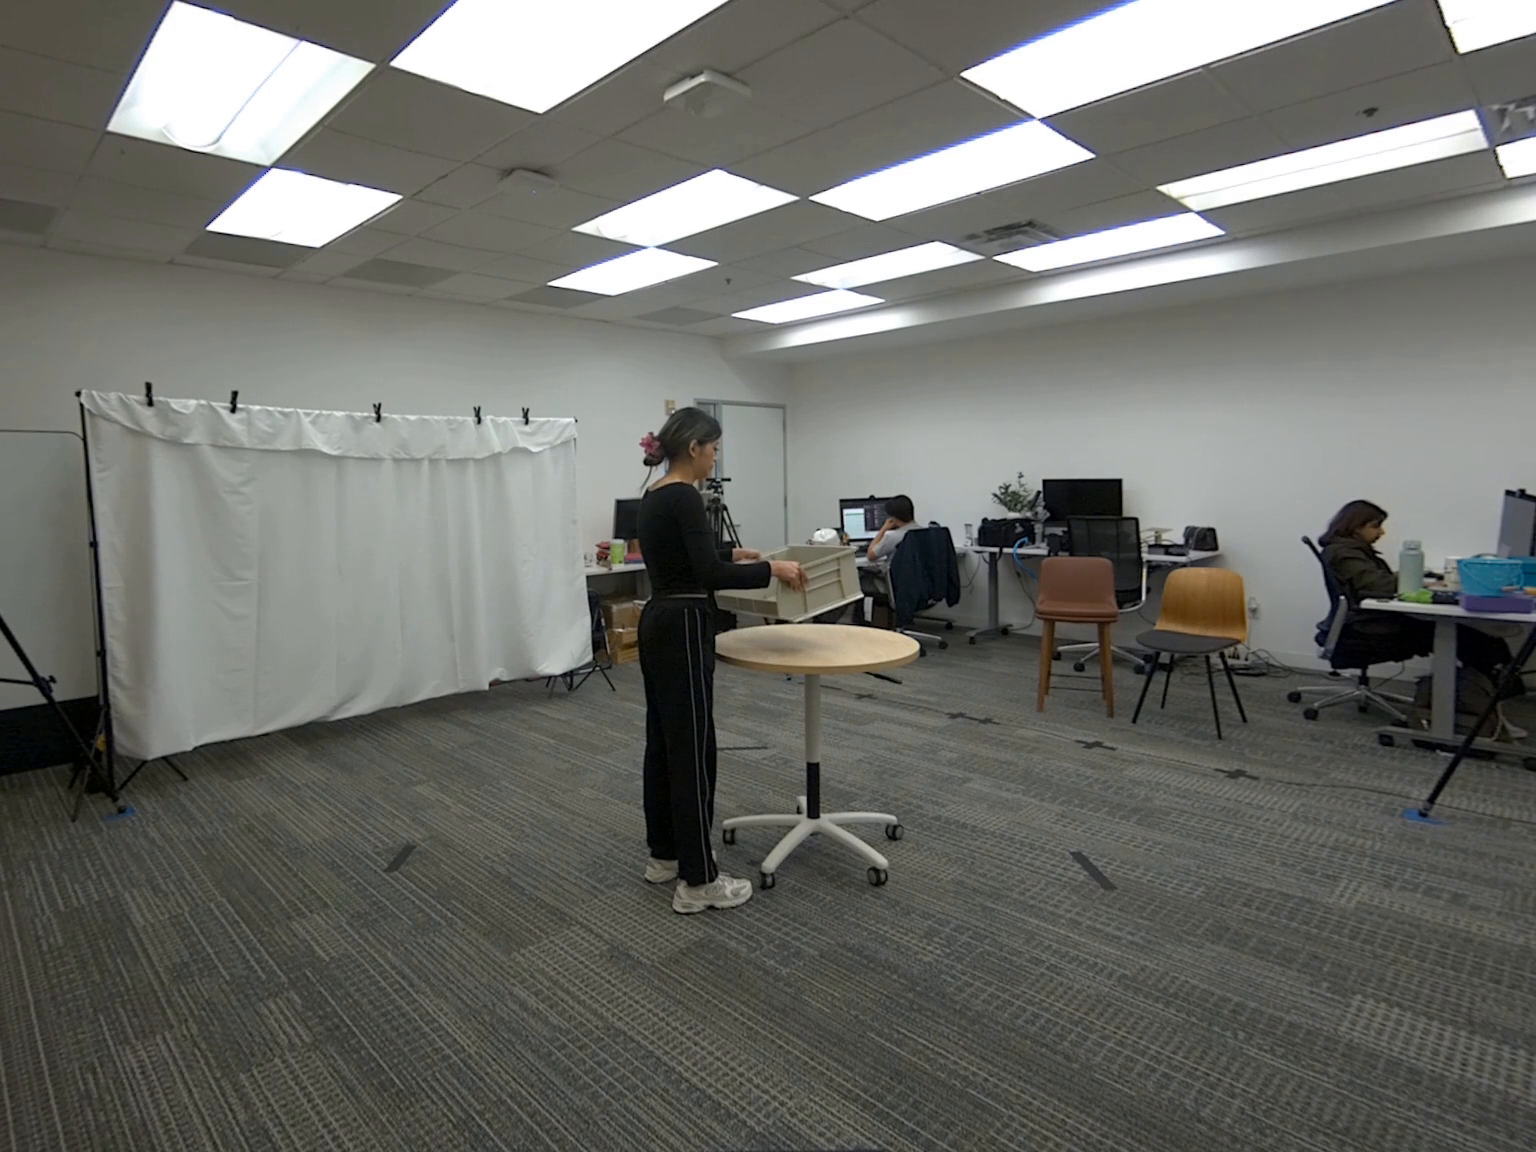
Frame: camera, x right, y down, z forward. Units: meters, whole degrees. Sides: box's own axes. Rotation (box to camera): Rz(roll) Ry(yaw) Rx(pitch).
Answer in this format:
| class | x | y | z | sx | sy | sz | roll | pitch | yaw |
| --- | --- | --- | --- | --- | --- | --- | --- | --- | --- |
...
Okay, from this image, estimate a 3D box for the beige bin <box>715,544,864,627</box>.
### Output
| class | x | y | z | sx | sy | sz | roll | pitch | yaw |
| --- | --- | --- | --- | --- | --- | --- | --- | --- | --- |
| beige bin | 0.071 | 0.030 | 3.089 | 0.371 | 0.187 | 0.433 | -17 | 10 | -30 |
